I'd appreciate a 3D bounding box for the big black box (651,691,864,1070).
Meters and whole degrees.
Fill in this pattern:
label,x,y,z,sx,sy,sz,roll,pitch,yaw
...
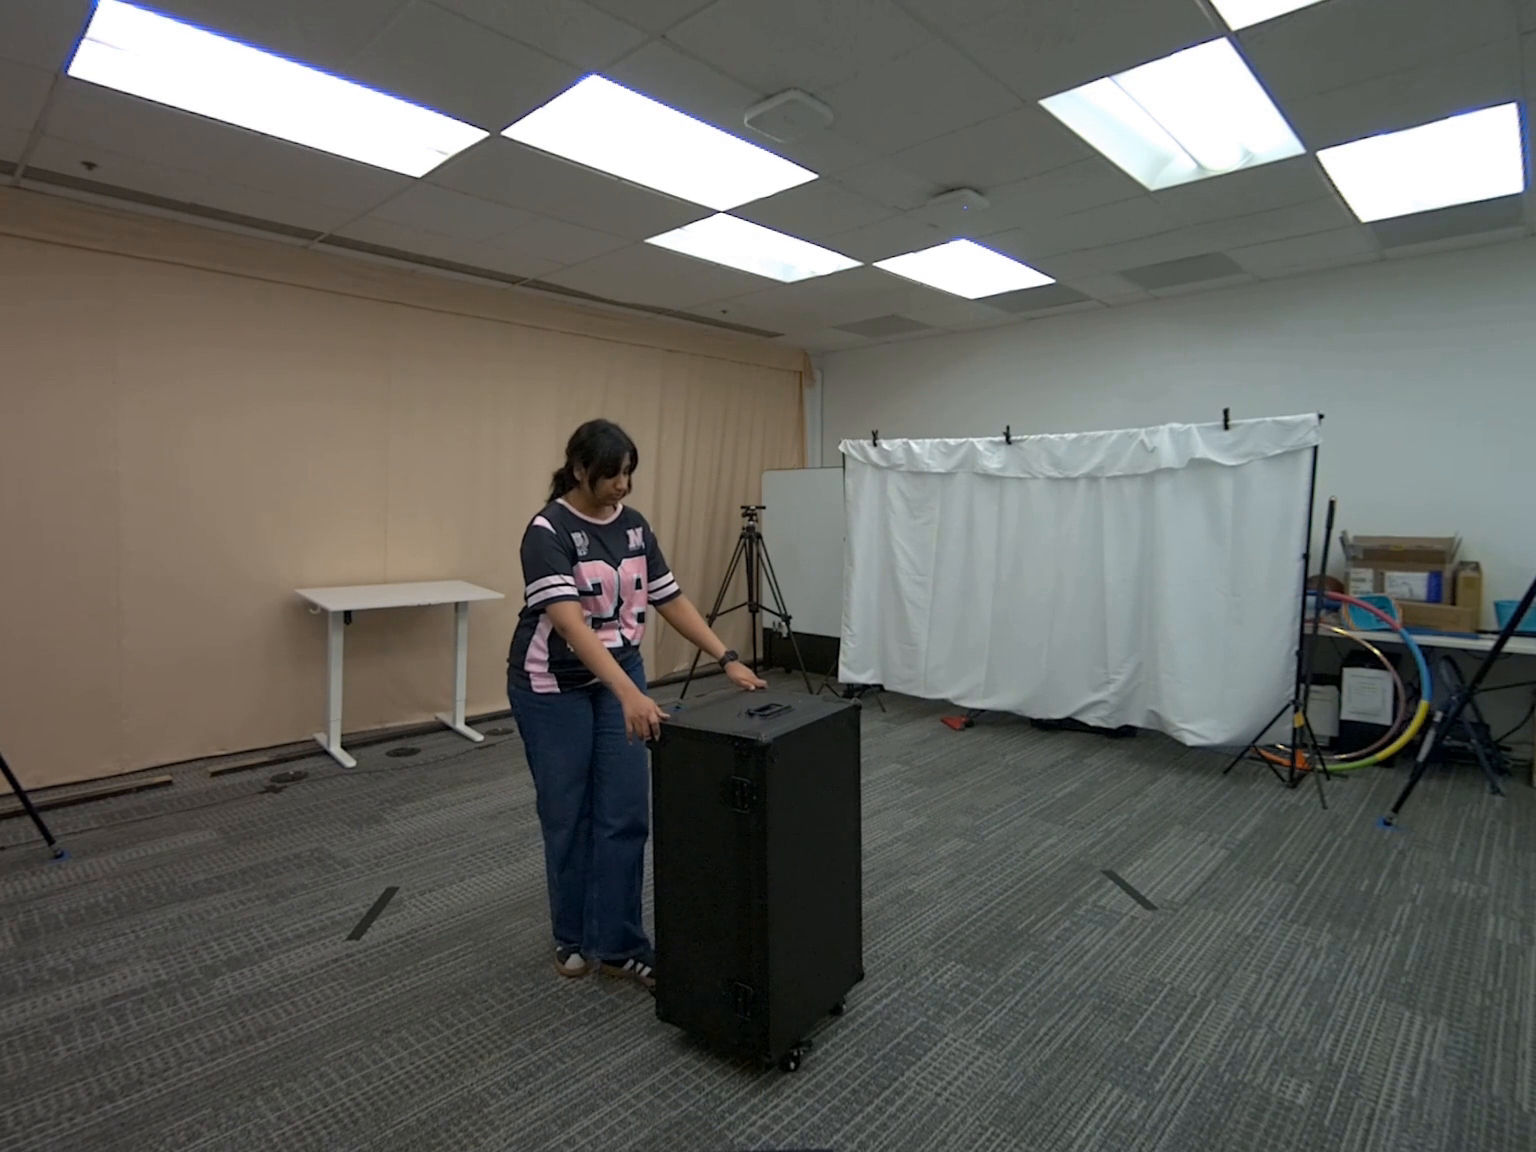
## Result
label,x,y,z,sx,sy,sz,roll,pitch,yaw
big black box,-0.020,0.784,2.241,0.397,0.867,0.508,0,3,34
